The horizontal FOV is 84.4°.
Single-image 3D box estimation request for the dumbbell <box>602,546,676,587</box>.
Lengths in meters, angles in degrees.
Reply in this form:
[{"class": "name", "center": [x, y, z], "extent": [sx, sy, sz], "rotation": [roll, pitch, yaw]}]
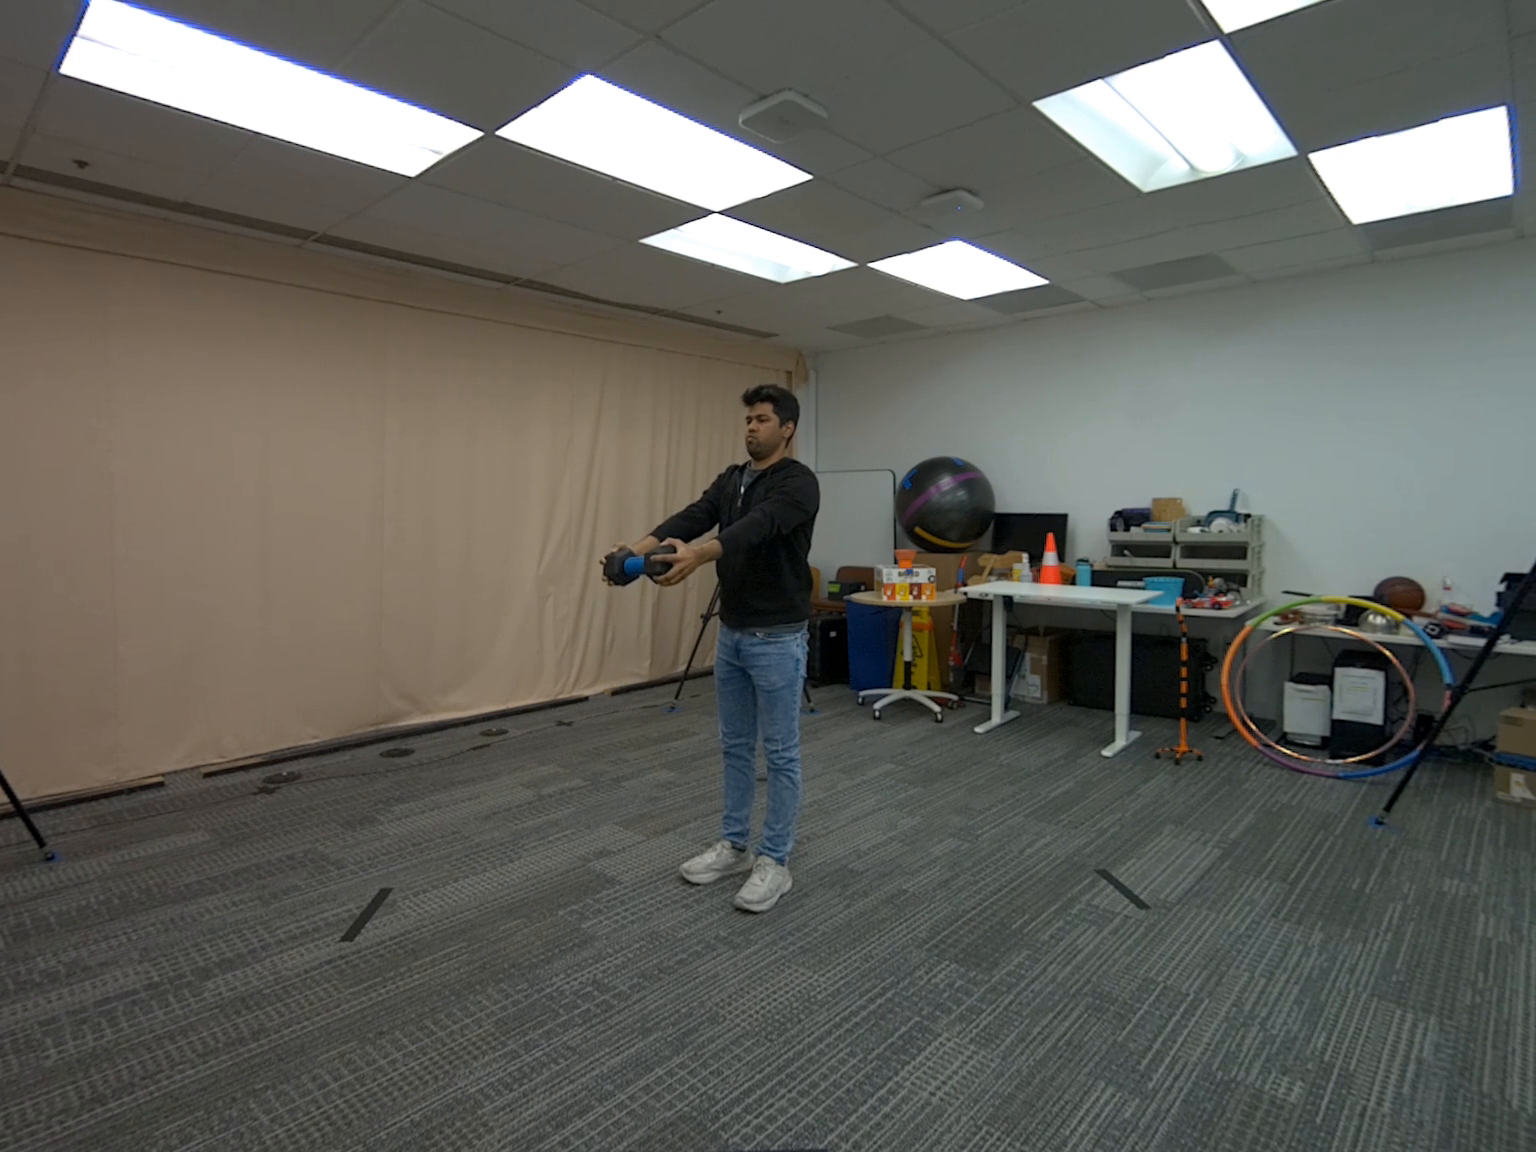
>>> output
[{"class": "dumbbell", "center": [-0.401, -0.056, 2.670], "extent": [0.303, 0.109, 0.119], "rotation": [-1, -36, 45]}]
